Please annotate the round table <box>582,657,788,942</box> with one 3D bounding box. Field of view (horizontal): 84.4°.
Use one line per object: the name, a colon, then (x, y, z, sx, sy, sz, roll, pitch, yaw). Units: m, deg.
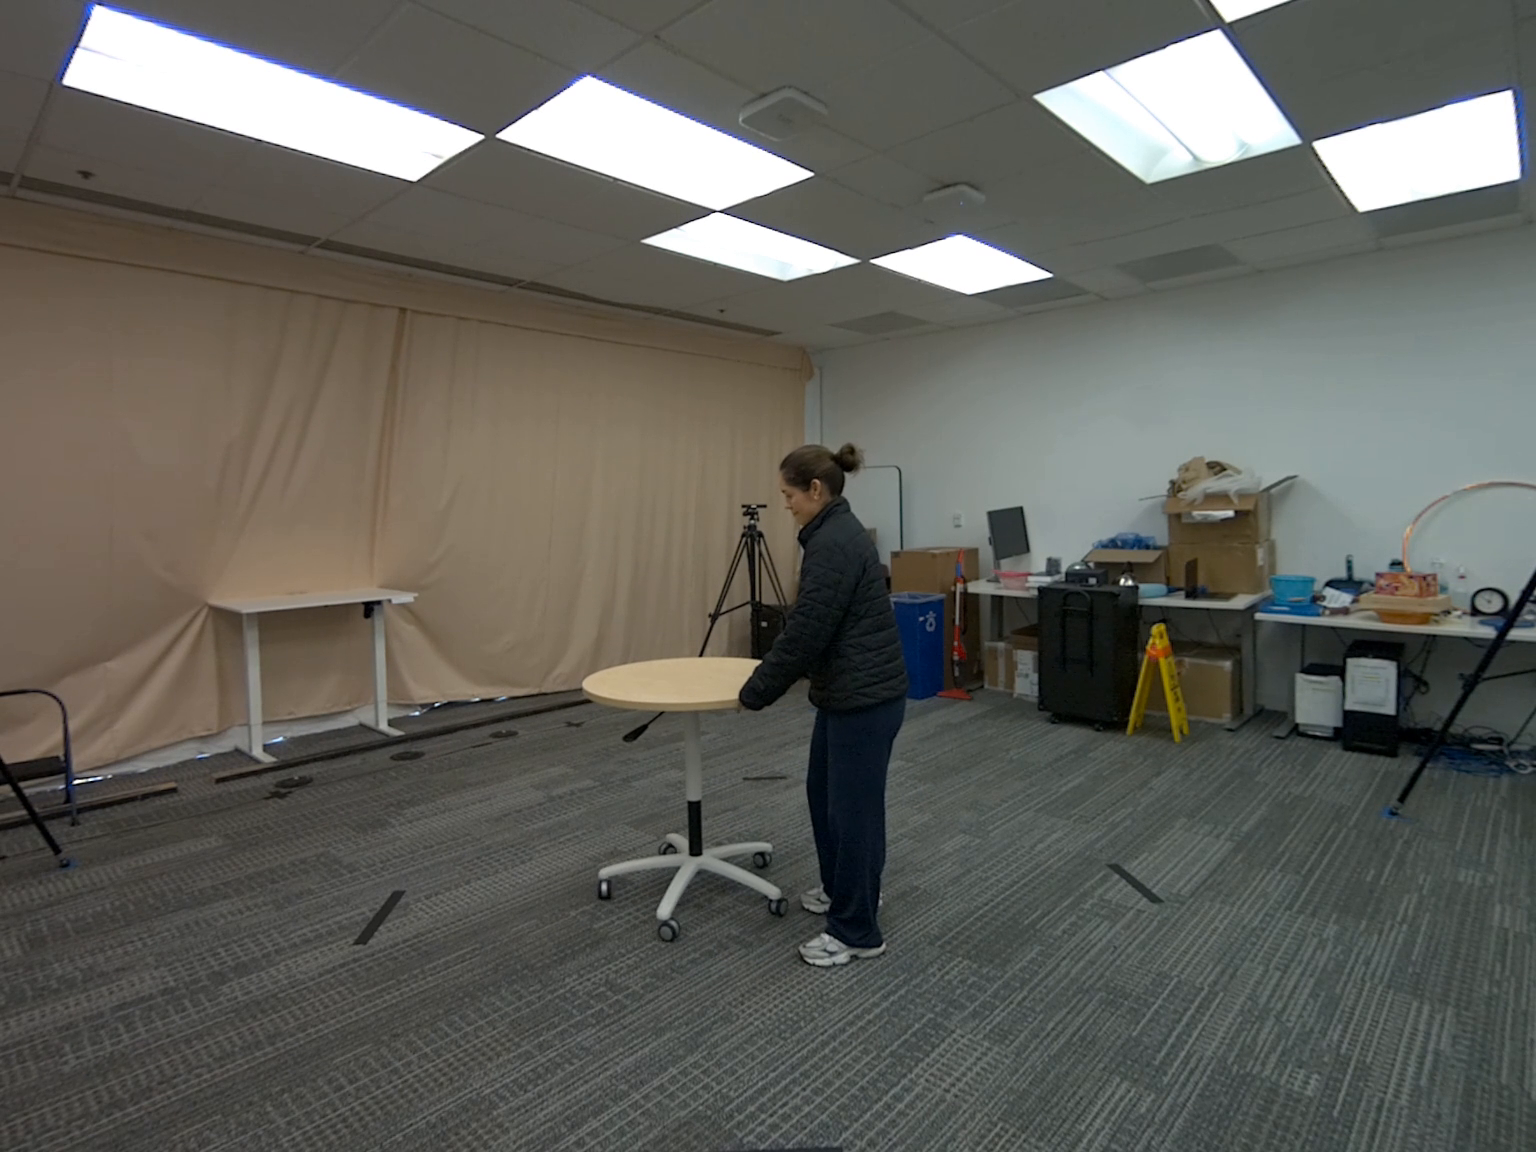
round table: (-0.264, 0.750, 3.019, 0.784, 0.785, 0.788, -1, 3, -2)
